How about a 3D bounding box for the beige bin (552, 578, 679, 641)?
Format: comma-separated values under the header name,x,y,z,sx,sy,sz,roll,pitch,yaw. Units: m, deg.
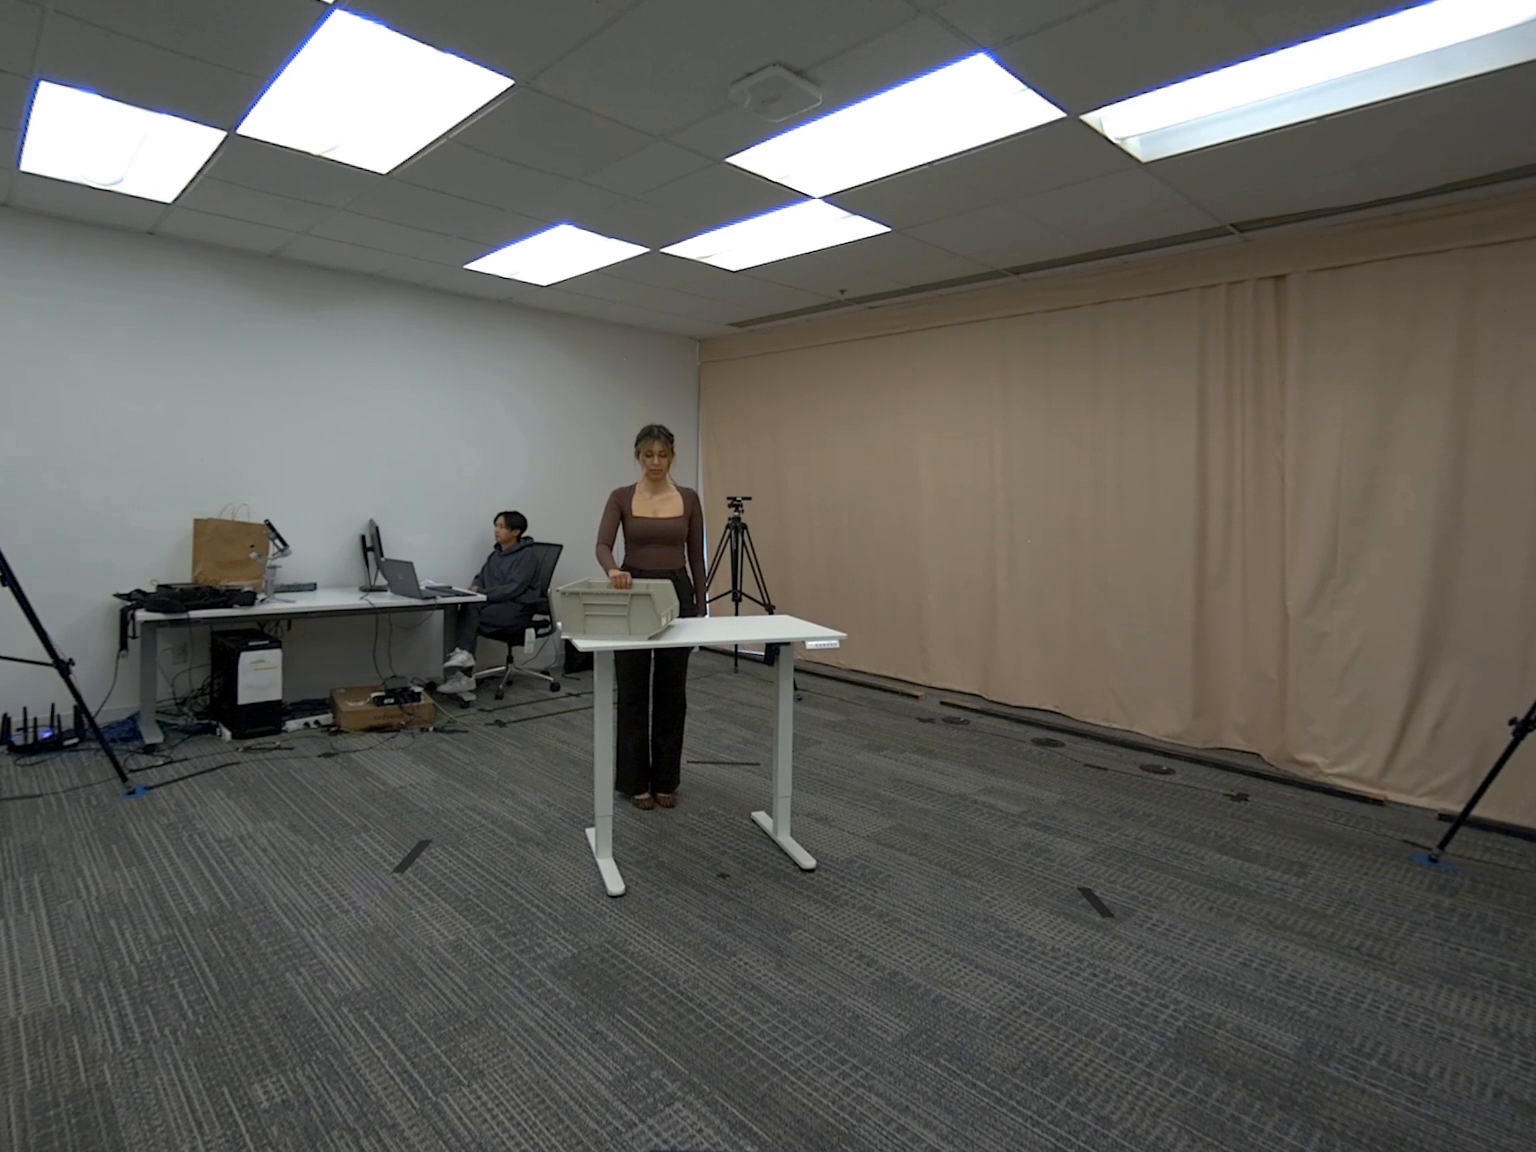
name,x,y,z,sx,sy,sz,roll,pitch,yaw
beige bin,-0.542,0.128,3.172,0.378,0.188,0.423,0,6,1
